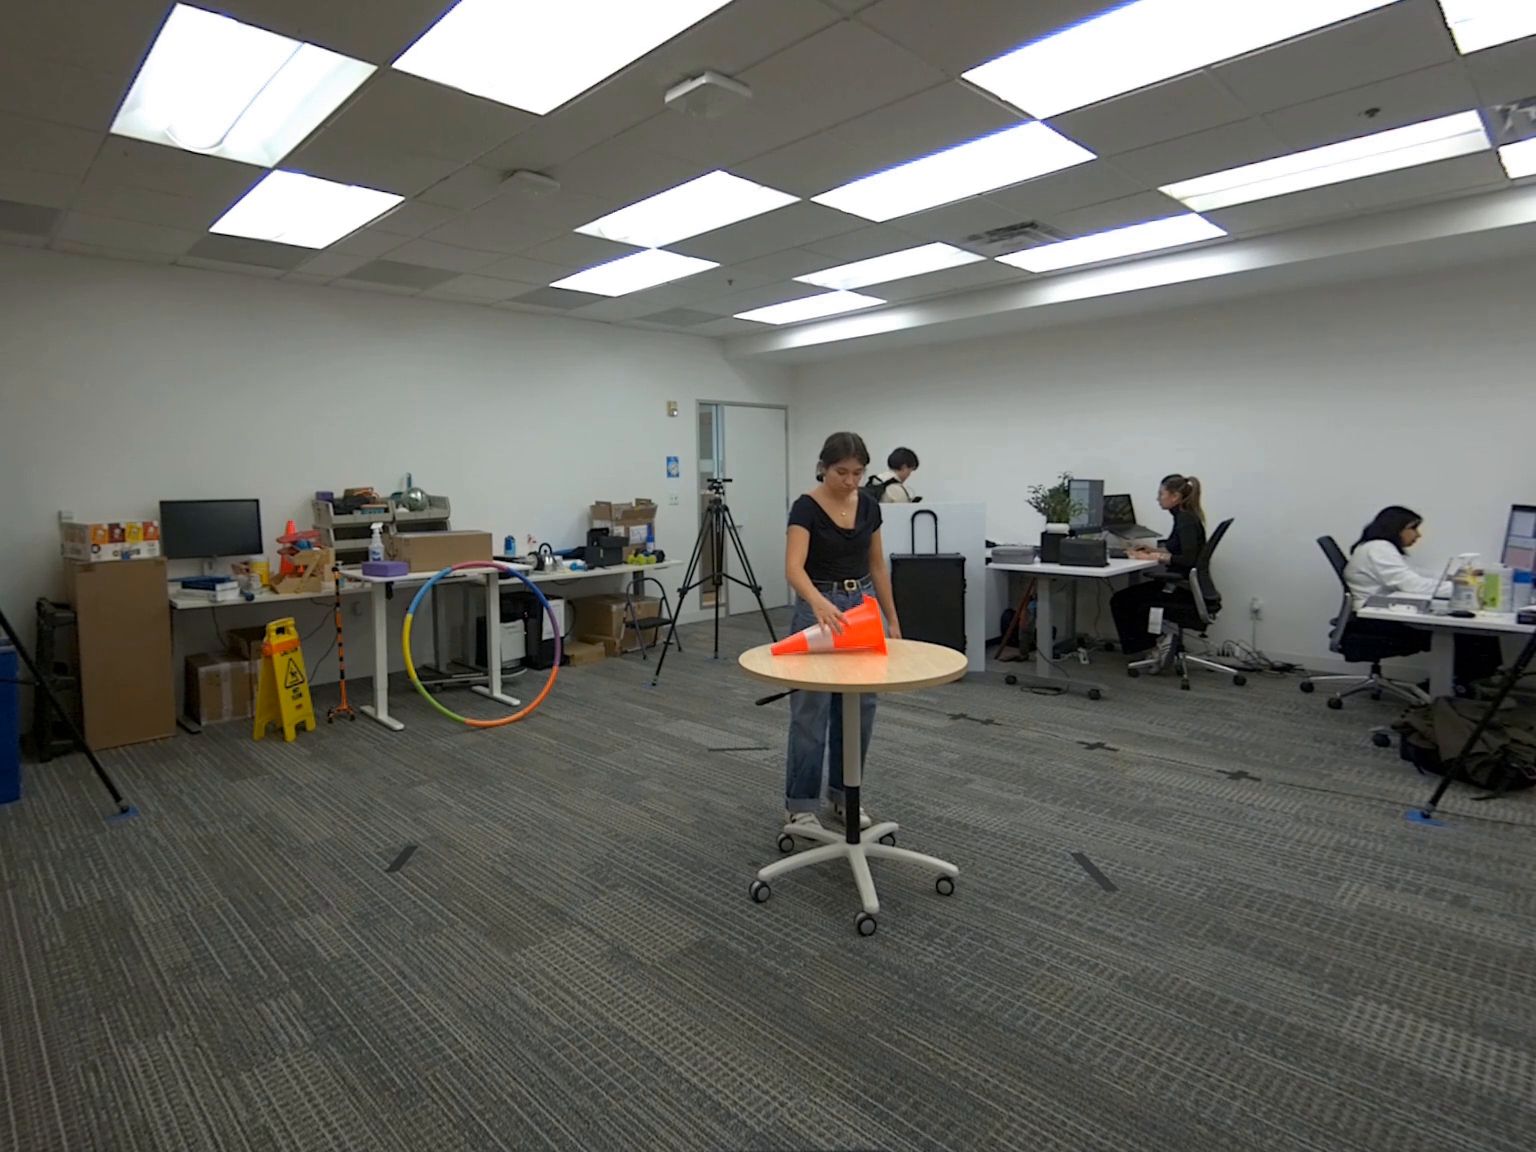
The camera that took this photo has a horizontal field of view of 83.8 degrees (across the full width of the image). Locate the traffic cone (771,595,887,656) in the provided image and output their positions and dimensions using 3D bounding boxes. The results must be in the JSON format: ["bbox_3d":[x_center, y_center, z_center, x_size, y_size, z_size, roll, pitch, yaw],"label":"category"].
[{"bbox_3d":[0.200,0.222,3.010,0.382,0.202,0.207,-16,6,-4],"label":"traffic cone"}]
